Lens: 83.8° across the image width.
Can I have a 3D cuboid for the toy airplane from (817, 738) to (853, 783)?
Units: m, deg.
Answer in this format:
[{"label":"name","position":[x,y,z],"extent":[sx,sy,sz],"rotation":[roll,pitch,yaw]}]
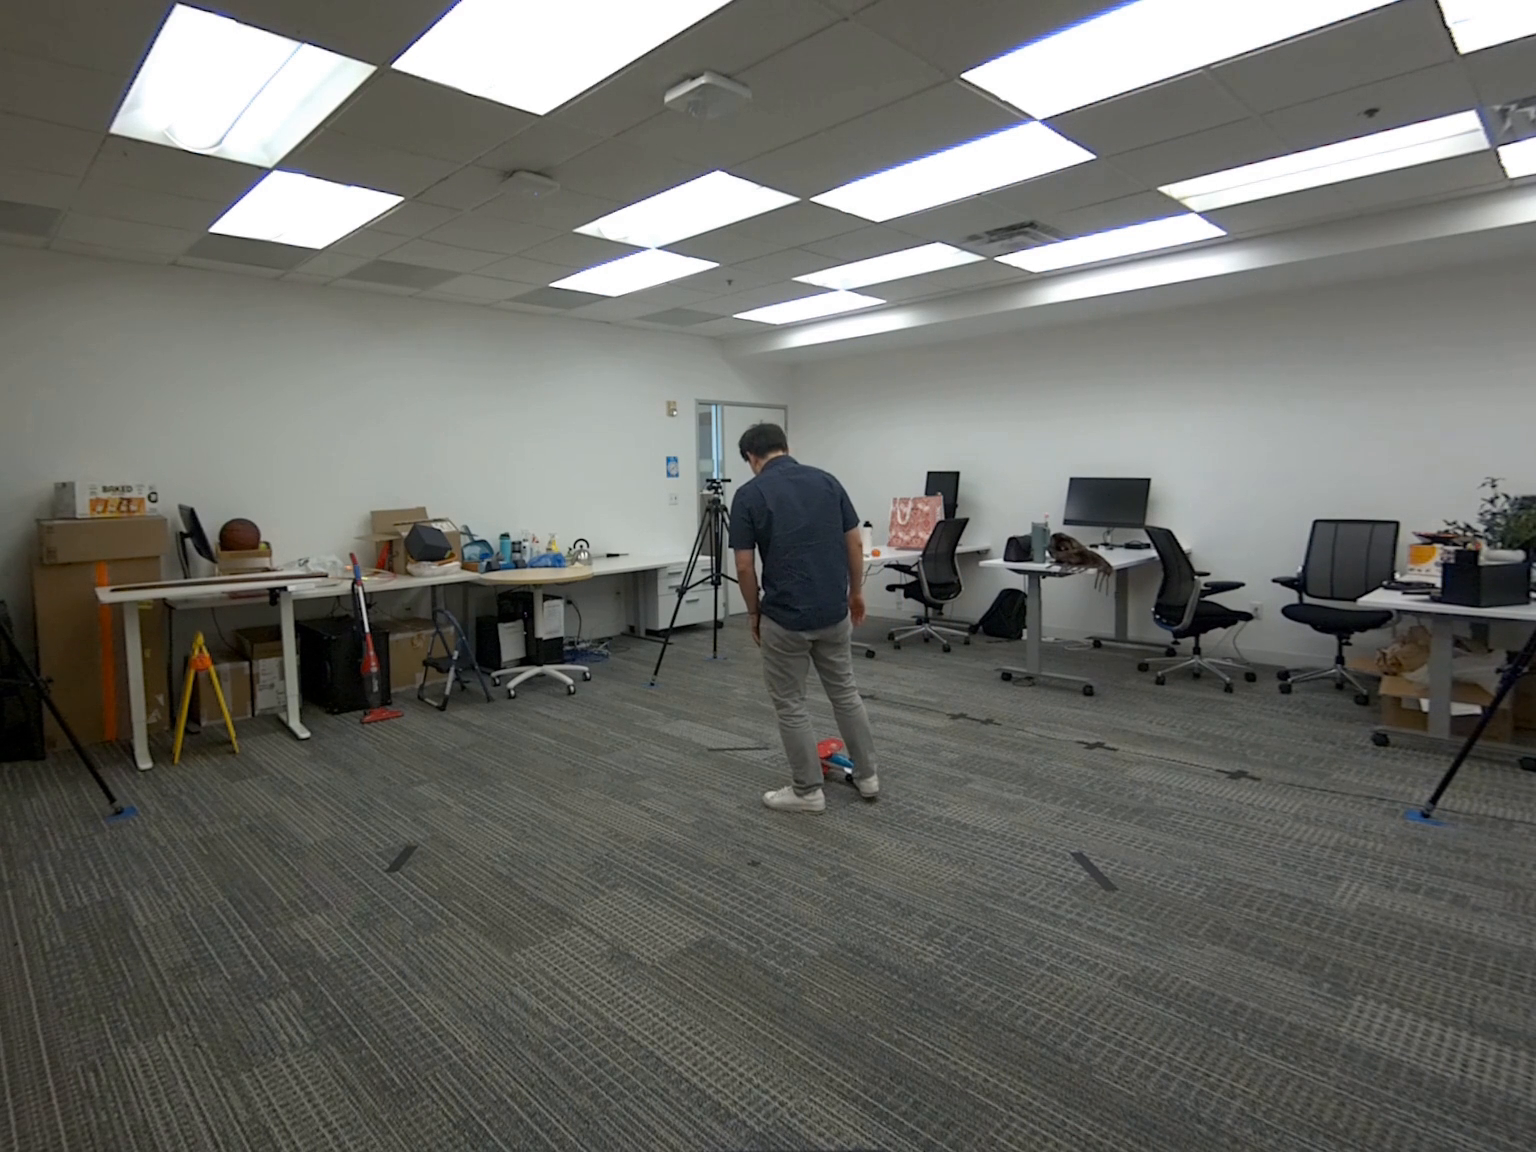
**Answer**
[{"label":"toy airplane","position":[0.301,0.863,3.996],"extent":[0.260,0.156,0.250],"rotation":[-2,4,5]}]
